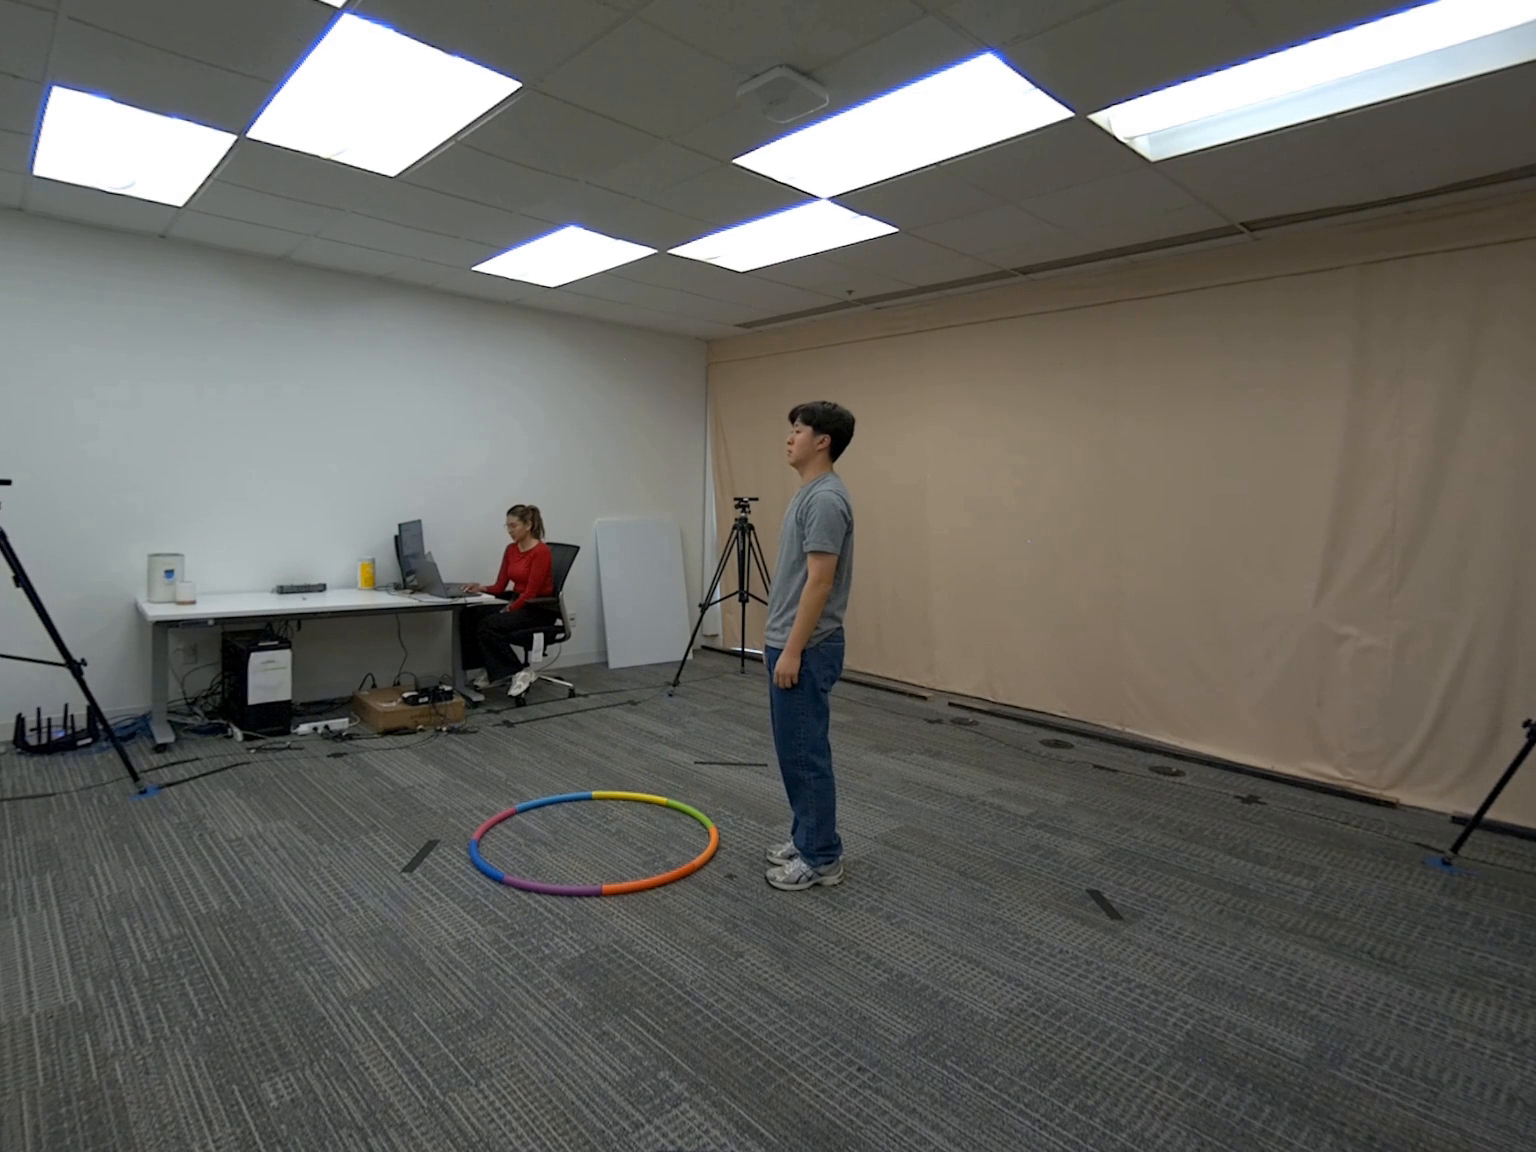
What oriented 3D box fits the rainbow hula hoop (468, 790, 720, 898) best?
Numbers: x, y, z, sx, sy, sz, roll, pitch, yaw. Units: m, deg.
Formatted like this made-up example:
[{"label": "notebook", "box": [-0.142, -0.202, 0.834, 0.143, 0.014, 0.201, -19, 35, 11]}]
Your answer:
[{"label": "rainbow hula hoop", "box": [-0.702, 1.039, 3.398, 0.978, 0.035, 0.982, 2, 5, -1]}]
